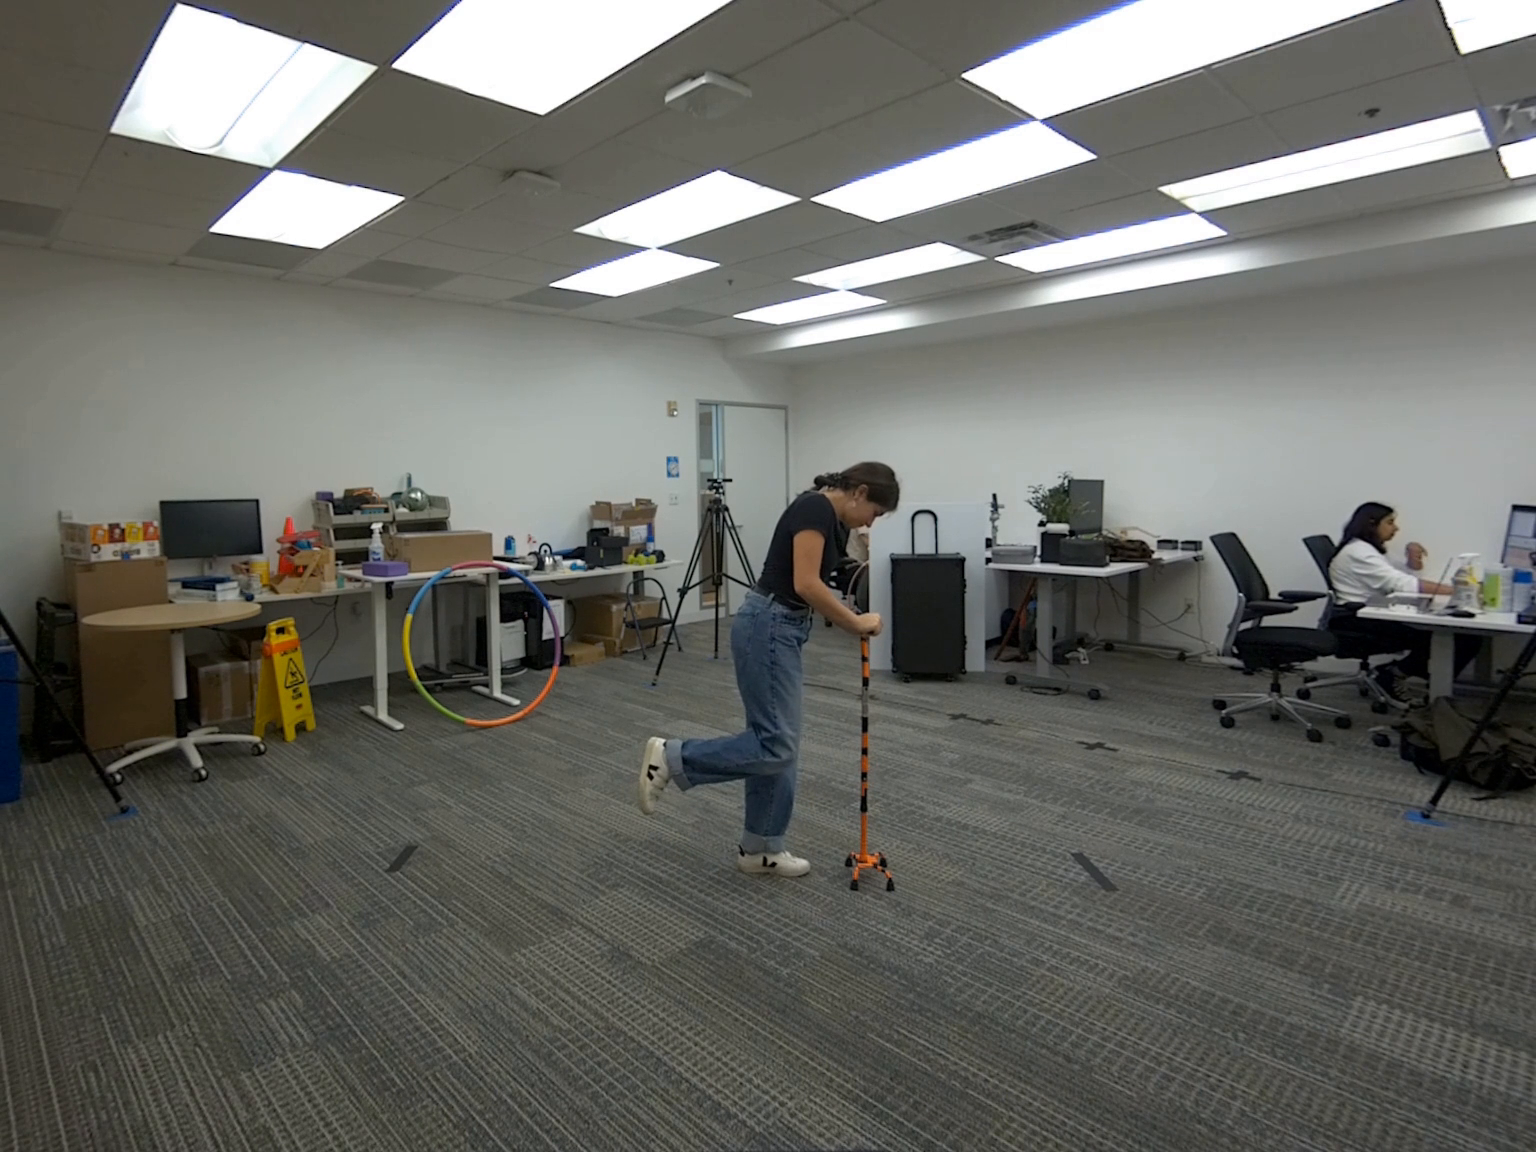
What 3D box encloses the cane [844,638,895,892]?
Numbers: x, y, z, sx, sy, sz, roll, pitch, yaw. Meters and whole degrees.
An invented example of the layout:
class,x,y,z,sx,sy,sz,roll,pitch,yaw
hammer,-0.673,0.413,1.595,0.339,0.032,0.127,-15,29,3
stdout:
class,x,y,z,sx,sy,sz,roll,pitch,yaw
cane,0.372,0.608,2.959,0.152,0.906,0.207,3,3,1
